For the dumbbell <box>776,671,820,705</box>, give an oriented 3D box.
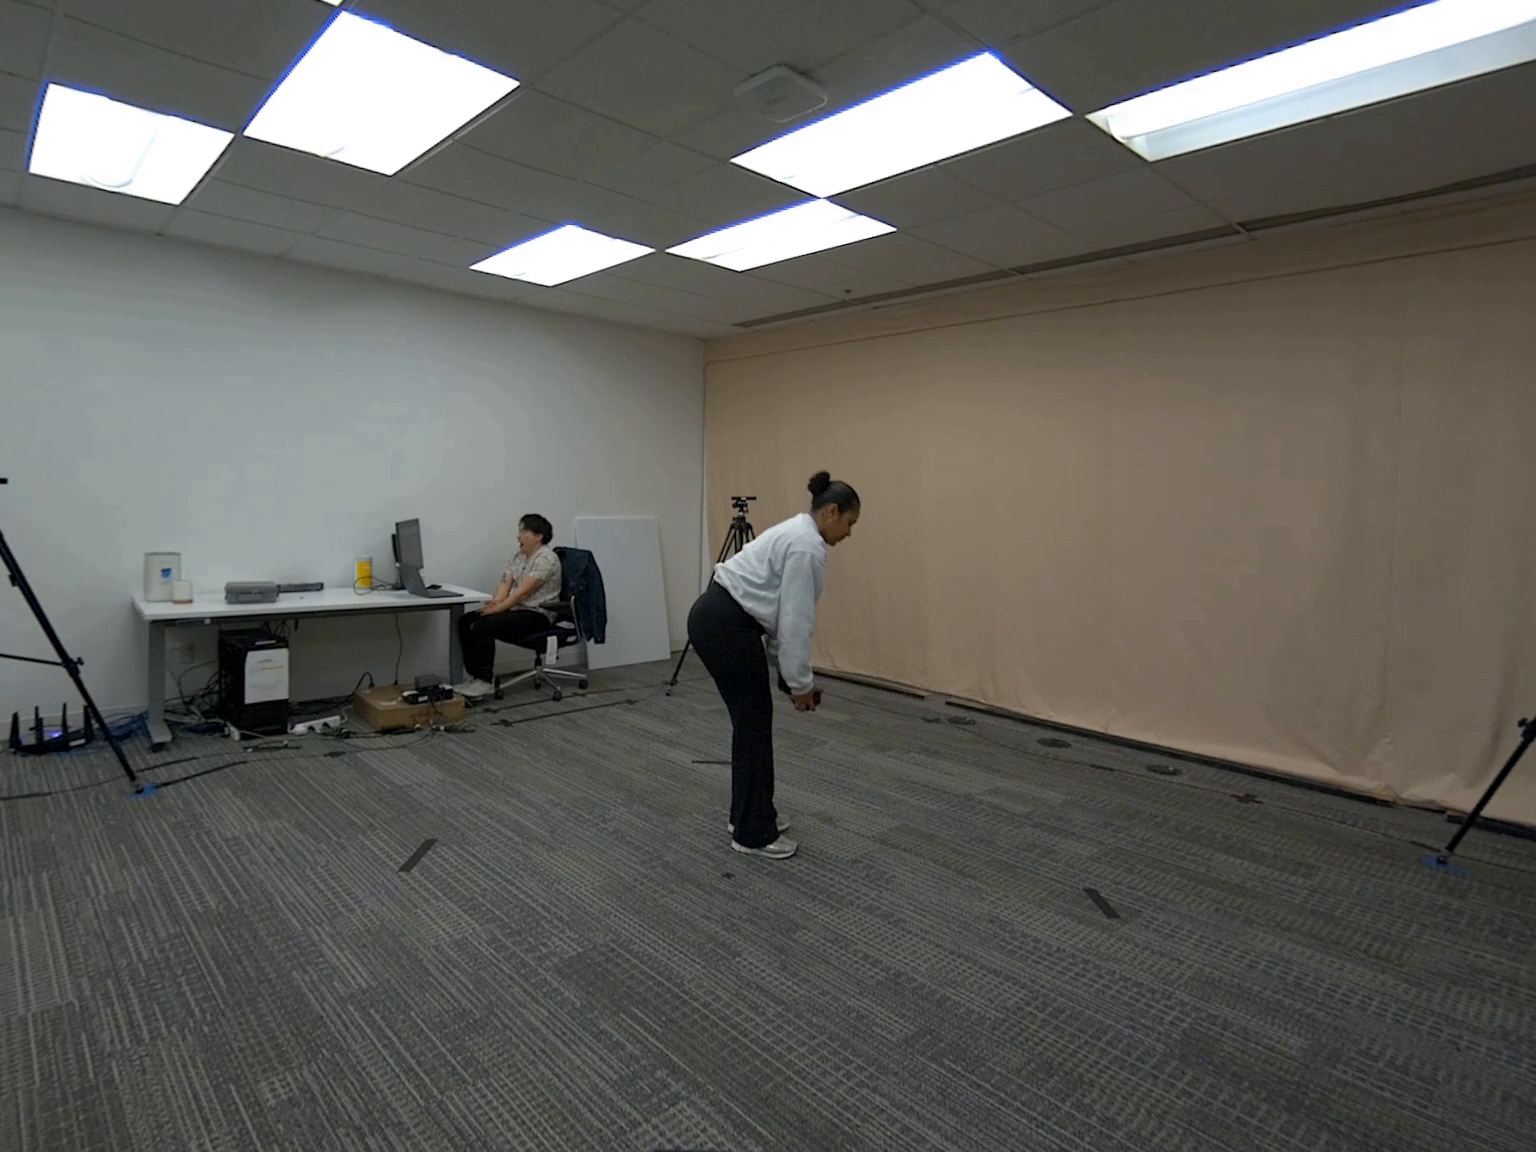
[{"bbox_3d":[0.112,0.469,3.407,0.108,0.122,0.296,0,6,-7],"label":"dumbbell"}]
